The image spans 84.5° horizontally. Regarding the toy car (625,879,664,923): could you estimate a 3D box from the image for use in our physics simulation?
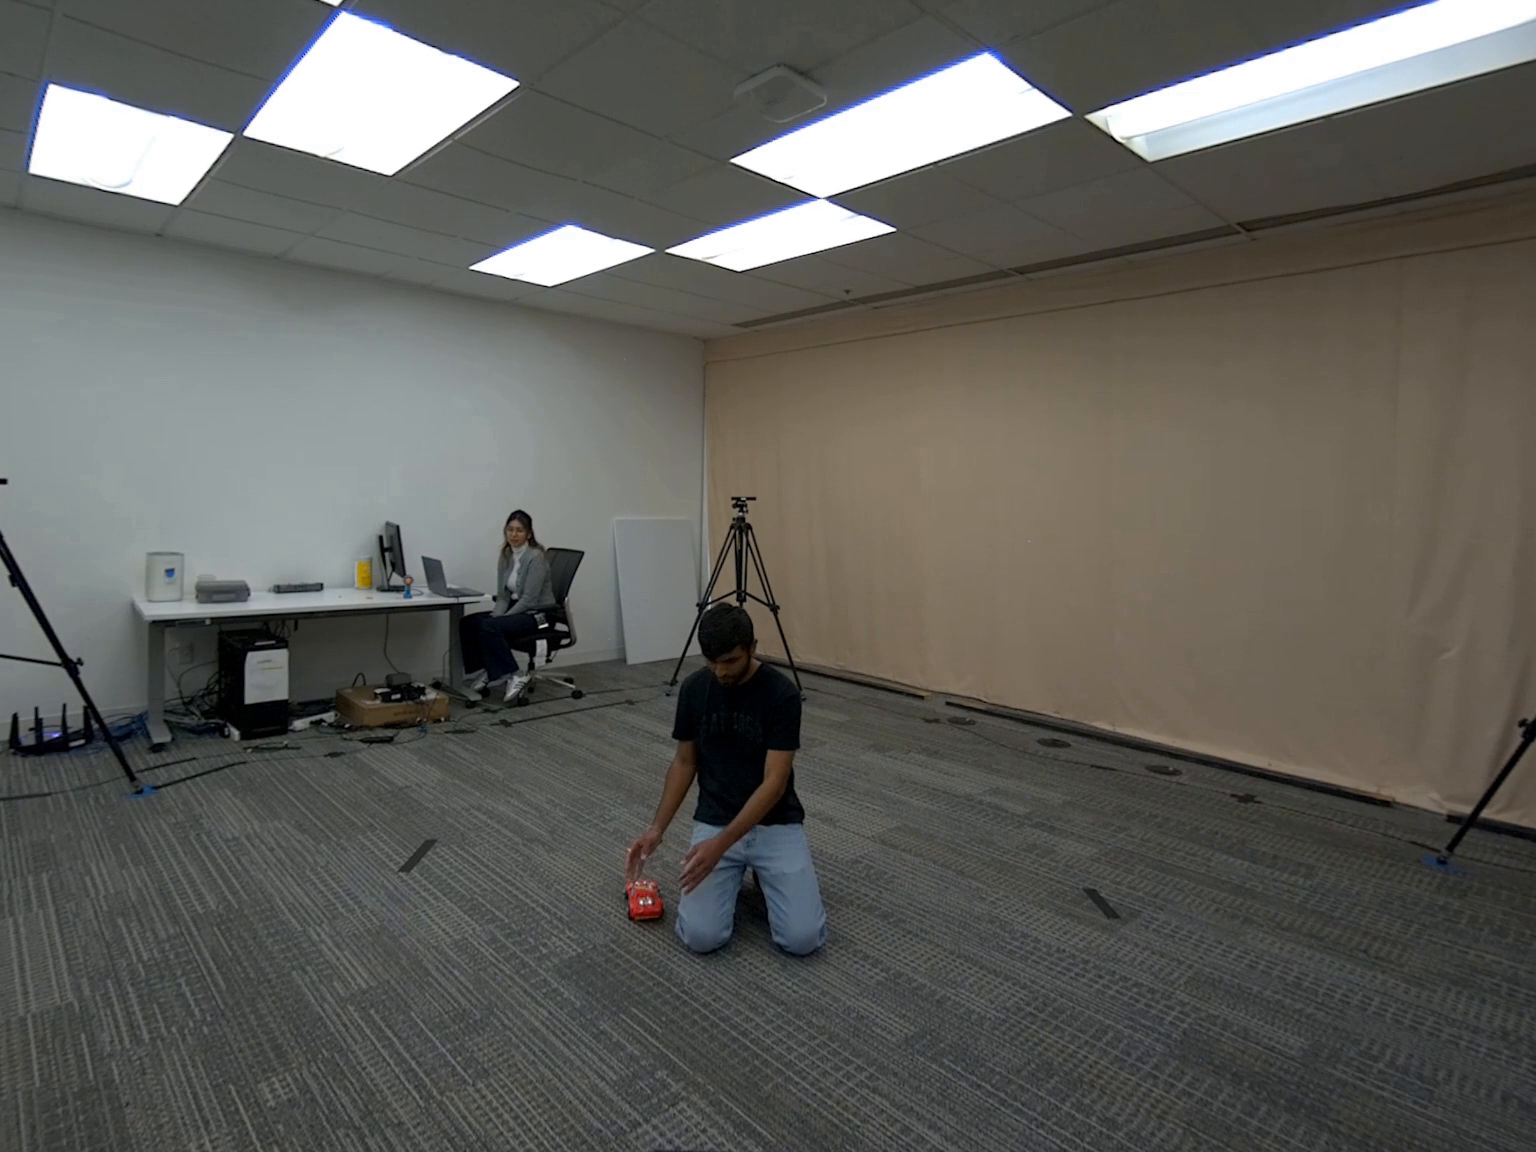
[{"bbox_3d":[-0.419,1.086,2.831,0.129,0.083,0.255,0,-6,-13],"label":"toy car"}]
